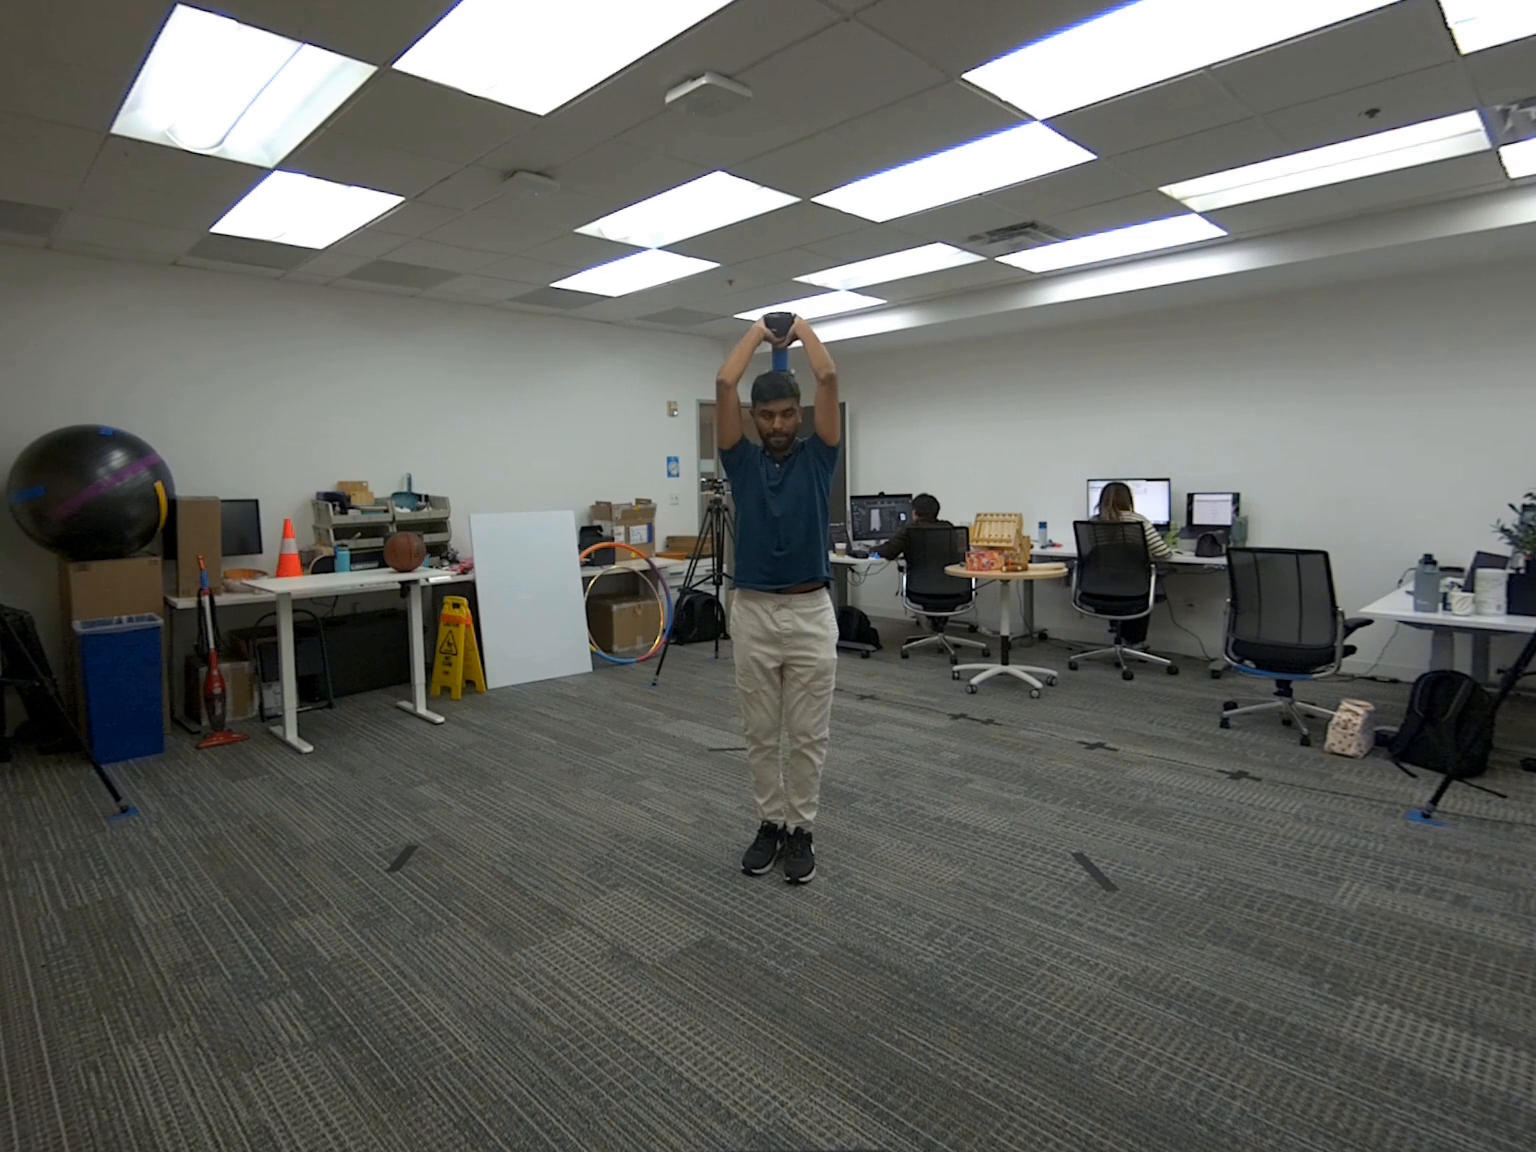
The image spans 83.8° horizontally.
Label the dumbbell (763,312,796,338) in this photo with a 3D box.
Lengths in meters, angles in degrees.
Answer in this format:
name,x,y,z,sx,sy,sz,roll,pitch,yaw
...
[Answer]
name,x,y,z,sx,sy,sz,roll,pitch,yaw
dumbbell,0.055,-0.823,3.165,0.109,0.287,0.125,3,28,4
